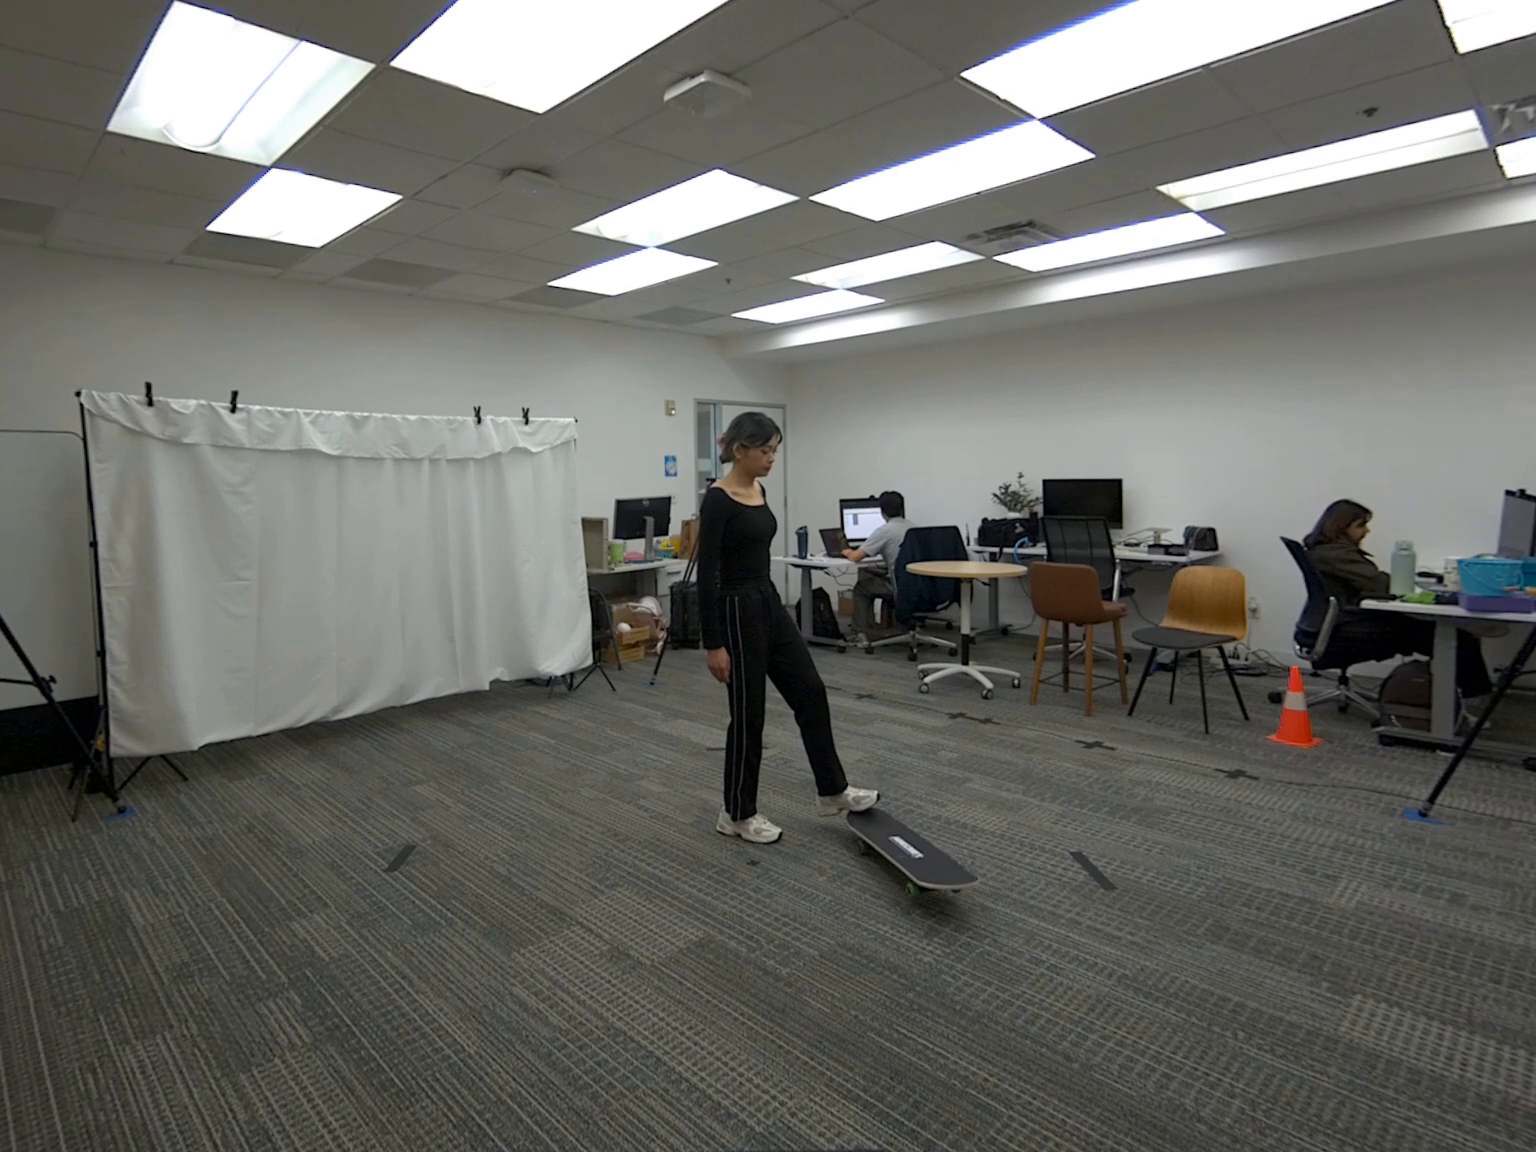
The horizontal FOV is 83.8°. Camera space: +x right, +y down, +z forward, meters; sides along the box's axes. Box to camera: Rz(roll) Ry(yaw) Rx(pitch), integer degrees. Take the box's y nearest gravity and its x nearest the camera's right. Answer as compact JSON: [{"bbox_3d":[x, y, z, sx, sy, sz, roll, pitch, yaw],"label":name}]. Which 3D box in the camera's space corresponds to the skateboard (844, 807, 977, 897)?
[{"bbox_3d":[0.489,0.985,2.979,0.191,0.110,0.797,-4,3,-15],"label":"skateboard"}]
